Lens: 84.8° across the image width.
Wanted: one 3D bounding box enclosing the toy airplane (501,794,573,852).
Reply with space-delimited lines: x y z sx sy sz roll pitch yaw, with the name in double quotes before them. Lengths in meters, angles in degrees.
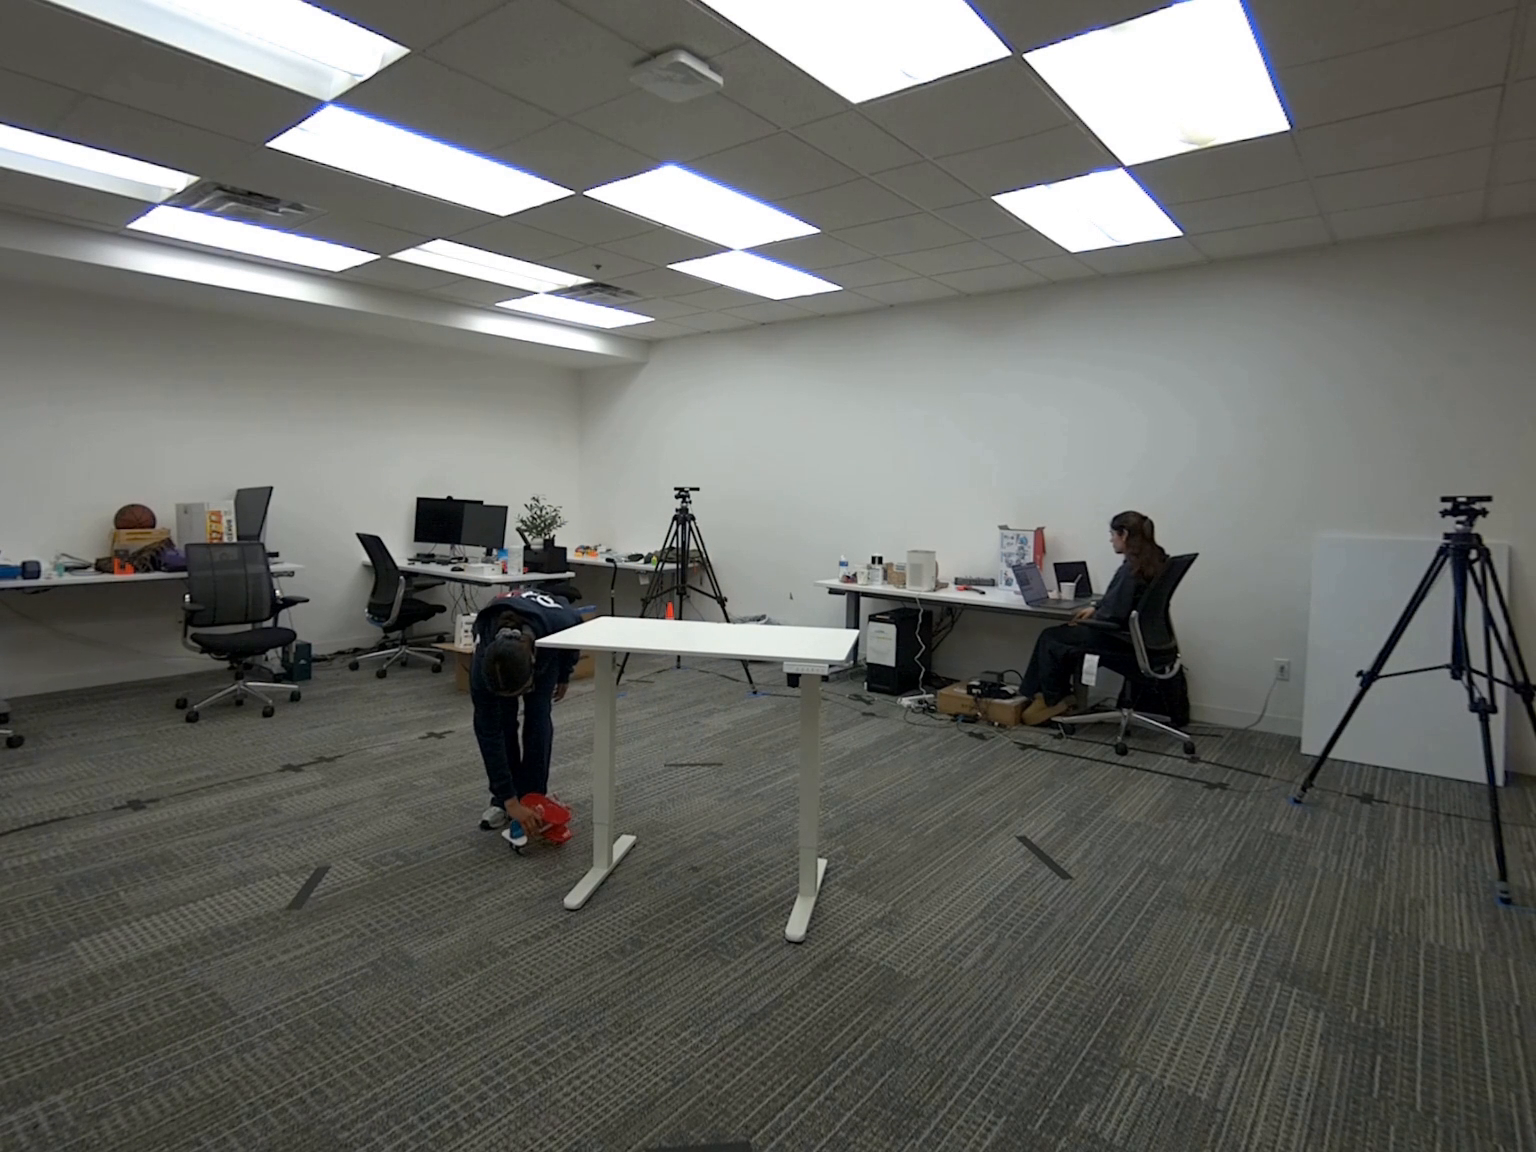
"toy airplane" -0.877 0.953 3.252 0.254 0.155 0.258 9 8 8
